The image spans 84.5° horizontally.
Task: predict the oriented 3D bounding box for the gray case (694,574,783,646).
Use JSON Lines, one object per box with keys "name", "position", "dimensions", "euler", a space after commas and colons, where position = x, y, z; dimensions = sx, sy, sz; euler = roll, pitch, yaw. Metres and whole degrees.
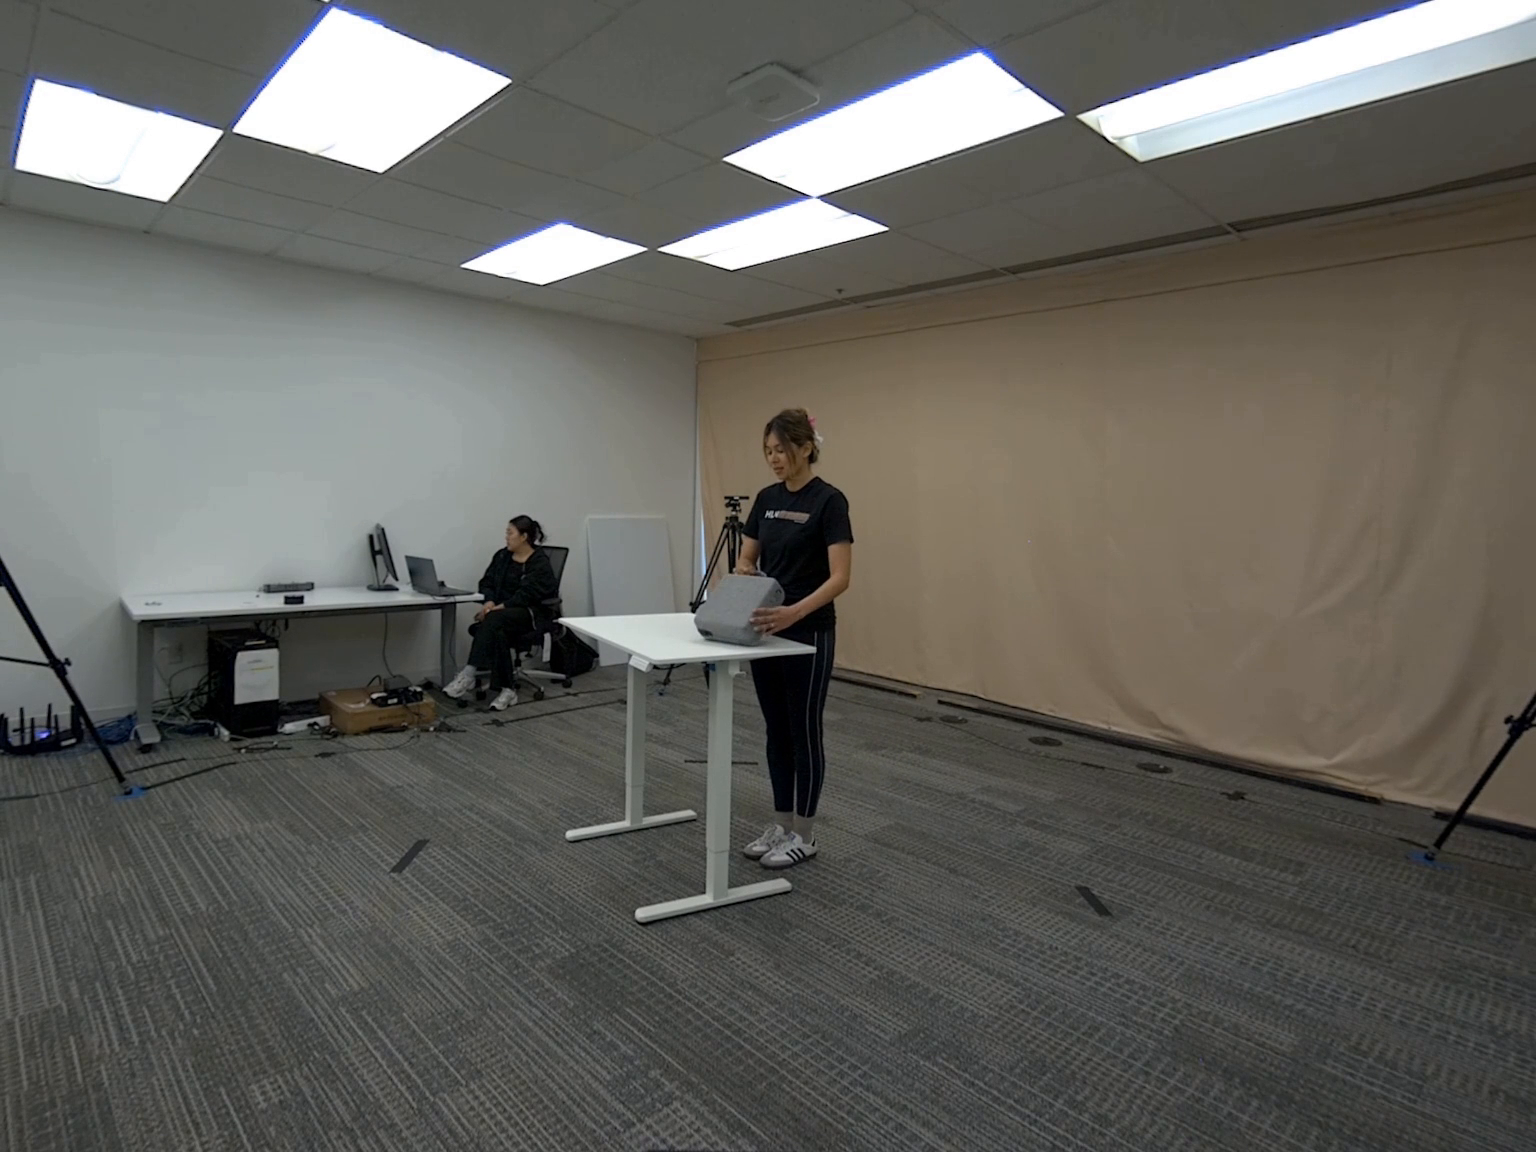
{"name": "gray case", "position": [-0.100, 0.118, 2.963], "dimensions": [0.263, 0.262, 0.101], "euler": [3, -41, 38]}
